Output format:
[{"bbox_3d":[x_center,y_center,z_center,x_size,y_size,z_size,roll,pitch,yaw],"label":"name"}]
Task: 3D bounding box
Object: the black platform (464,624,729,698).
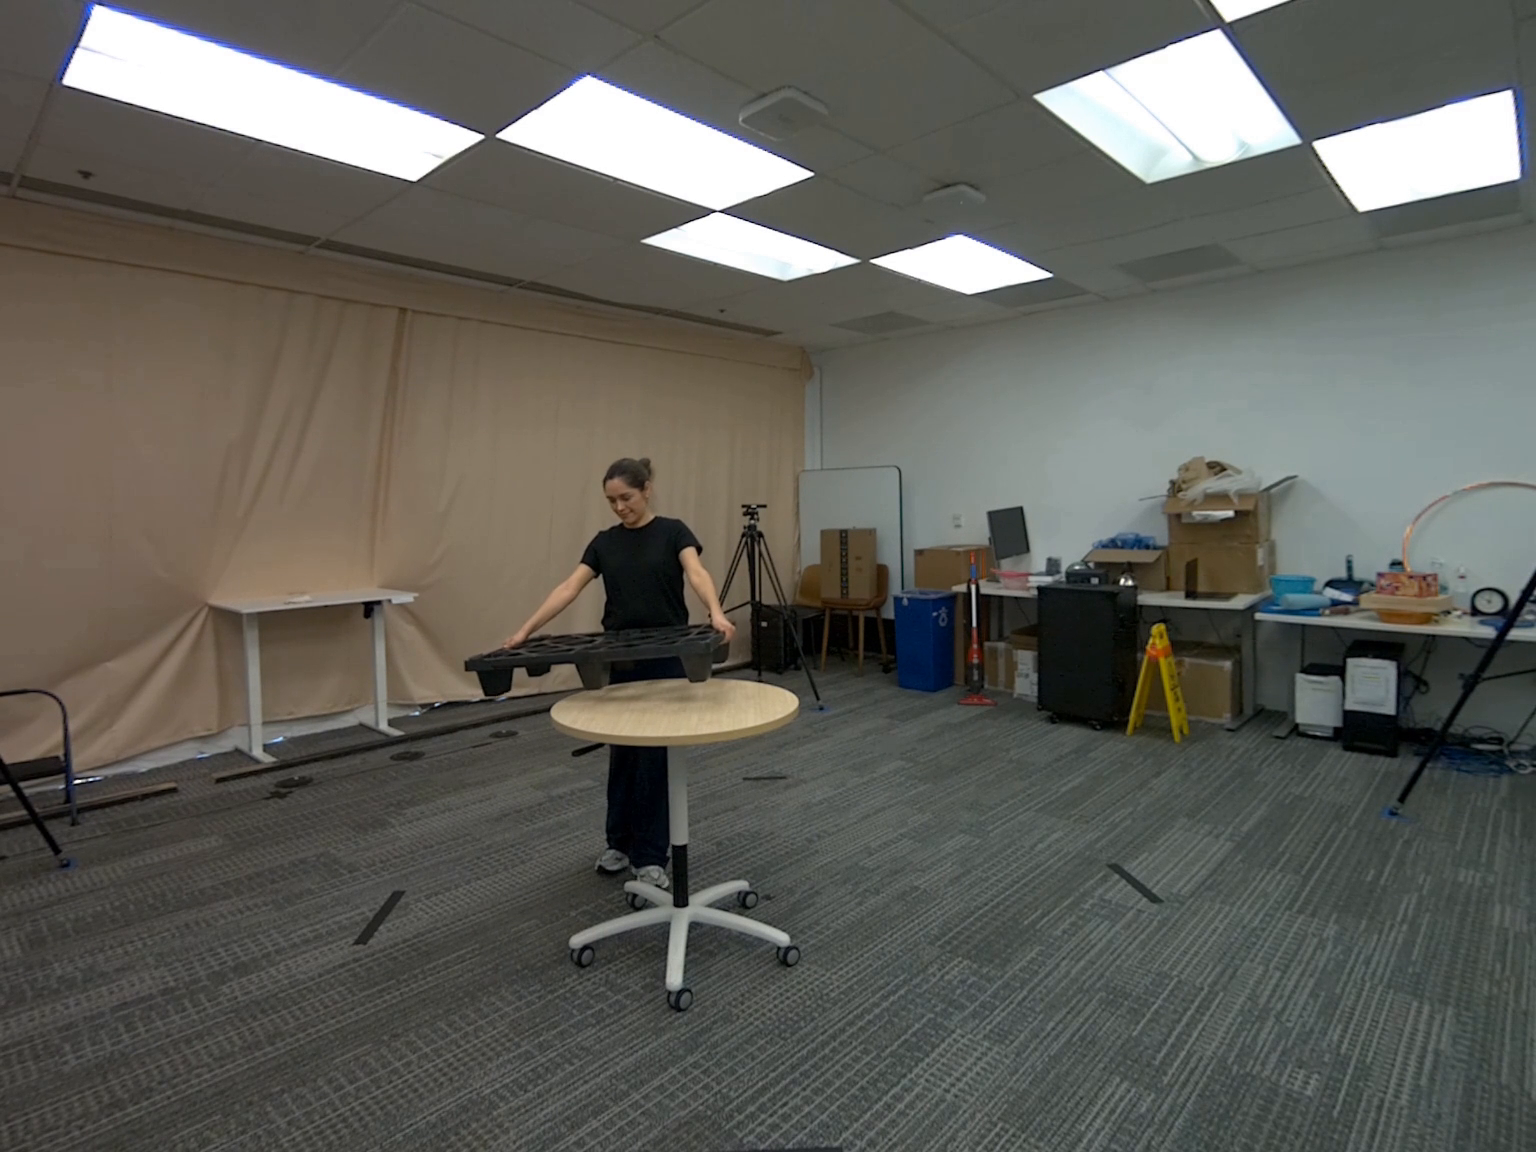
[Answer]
[{"bbox_3d":[-0.526,0.281,2.884,0.813,0.143,0.600,-5,2,8],"label":"black platform"}]
